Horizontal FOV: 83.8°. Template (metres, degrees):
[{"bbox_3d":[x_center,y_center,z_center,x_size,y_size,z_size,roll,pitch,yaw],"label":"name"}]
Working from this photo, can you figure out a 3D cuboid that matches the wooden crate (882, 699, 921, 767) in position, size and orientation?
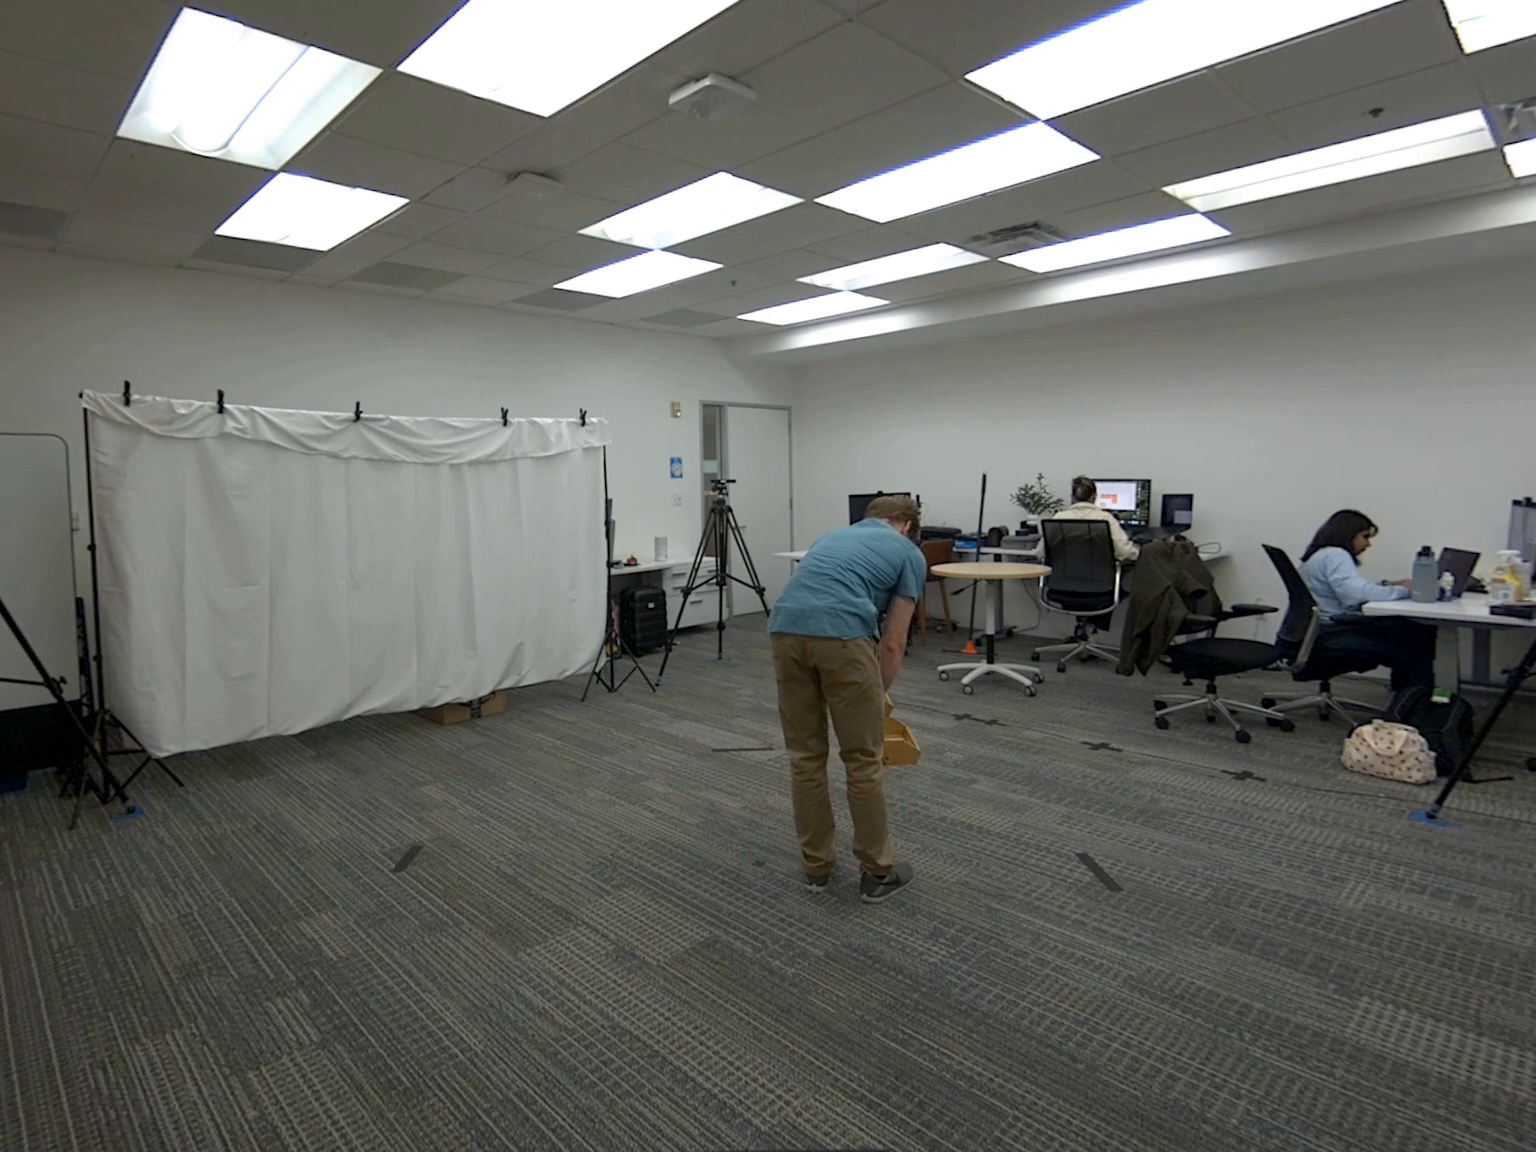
[{"bbox_3d":[0.412,0.535,3.196,0.303,0.272,0.325,-4,6,1],"label":"wooden crate"}]
